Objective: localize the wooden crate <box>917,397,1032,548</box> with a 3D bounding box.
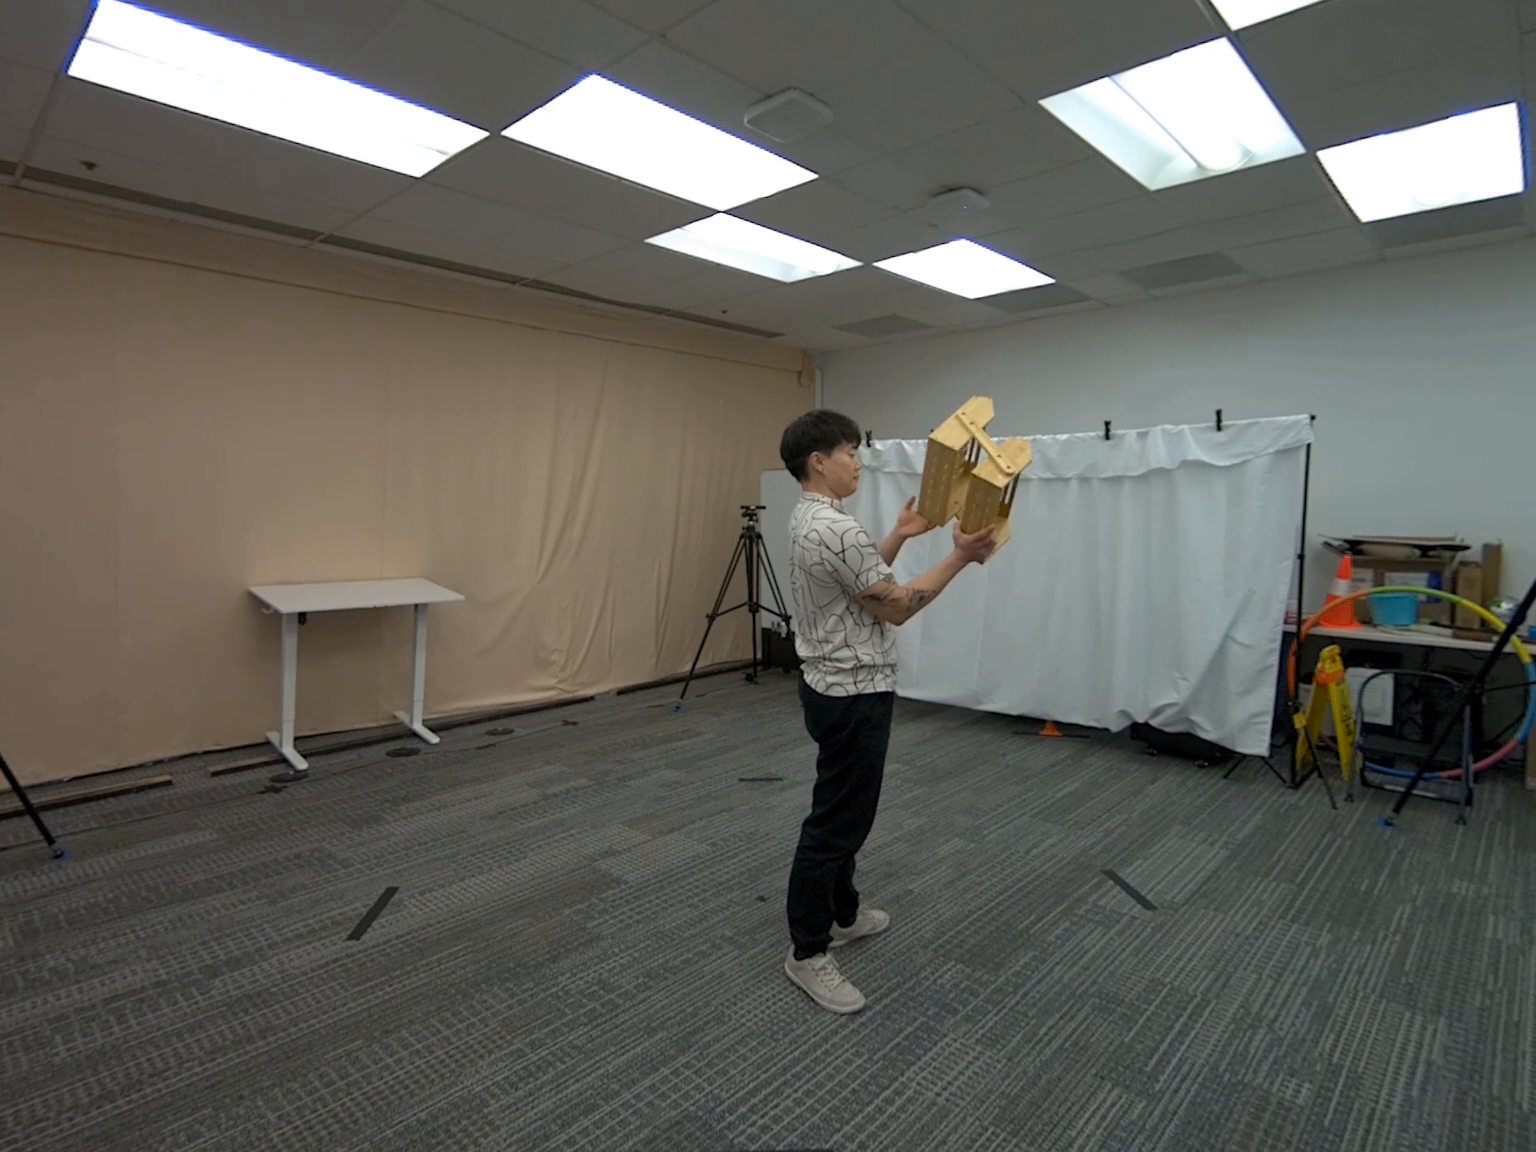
[{"bbox_3d":[0.617,-0.270,2.389,0.282,0.318,0.299,34,58,28],"label":"wooden crate"}]
